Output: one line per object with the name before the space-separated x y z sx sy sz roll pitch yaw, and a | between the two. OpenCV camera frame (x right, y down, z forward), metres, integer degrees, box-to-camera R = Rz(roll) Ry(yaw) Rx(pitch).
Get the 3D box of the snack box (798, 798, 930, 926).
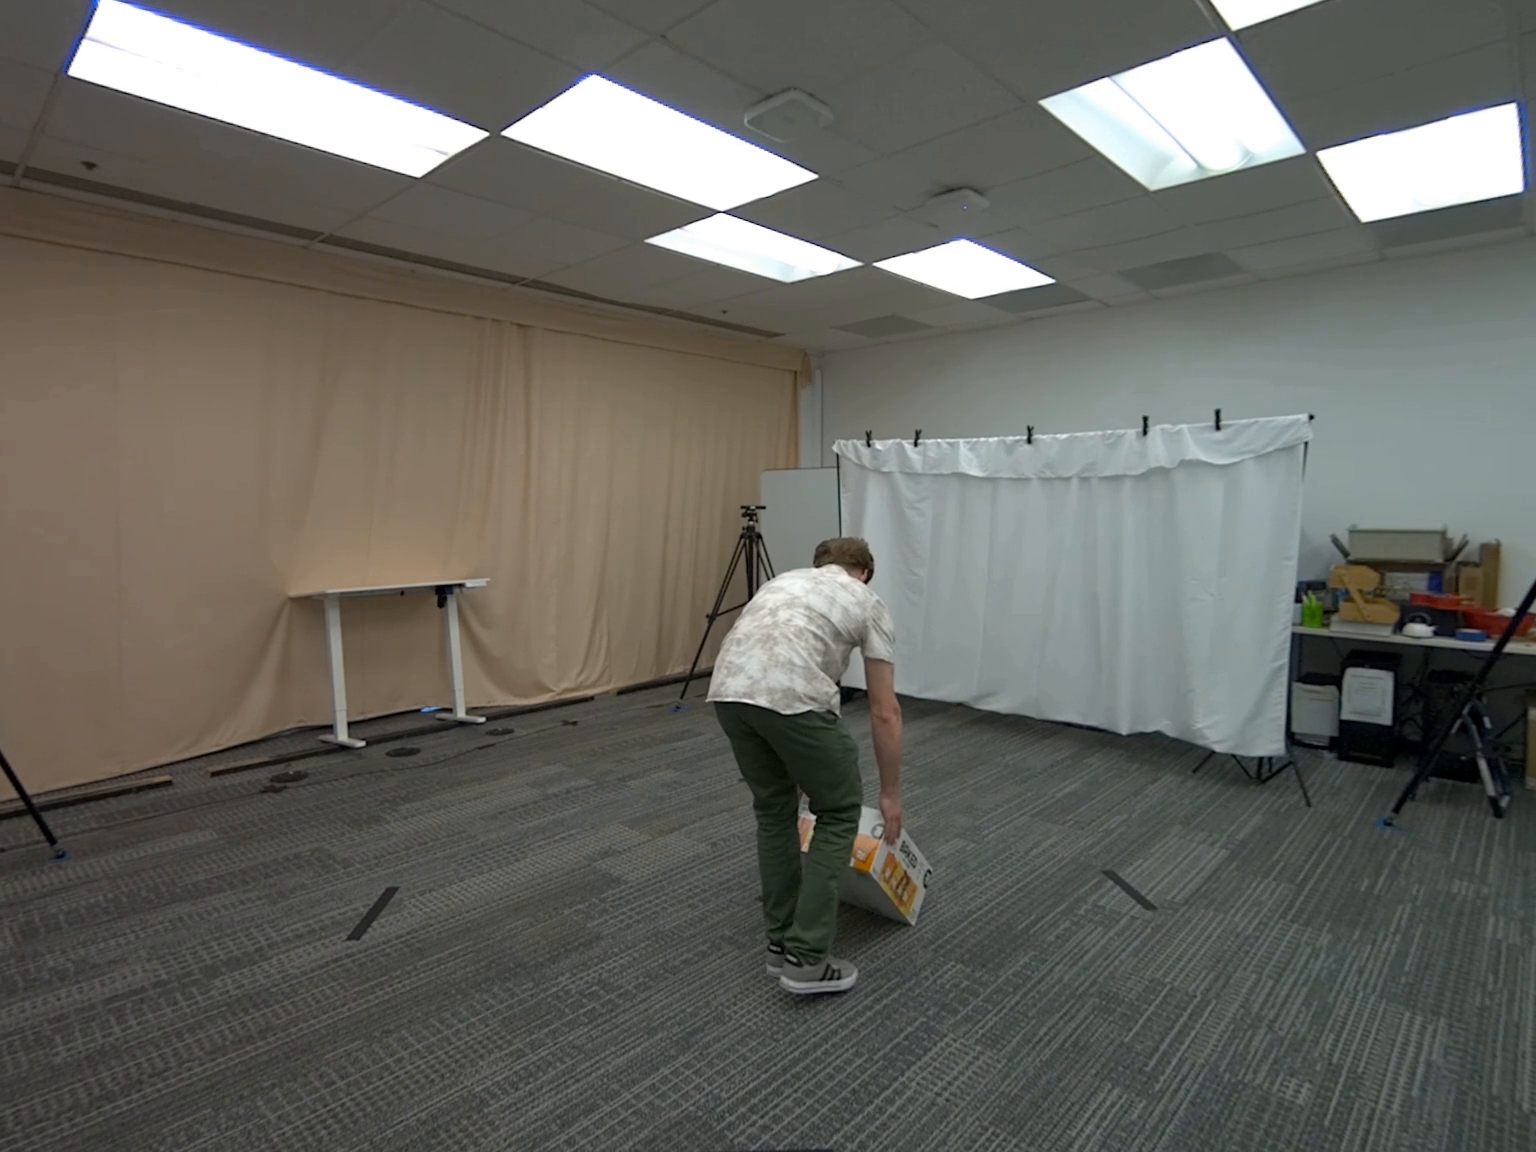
snack box | 0.307 0.948 2.824 0.351 0.205 0.392 3 -40 39
